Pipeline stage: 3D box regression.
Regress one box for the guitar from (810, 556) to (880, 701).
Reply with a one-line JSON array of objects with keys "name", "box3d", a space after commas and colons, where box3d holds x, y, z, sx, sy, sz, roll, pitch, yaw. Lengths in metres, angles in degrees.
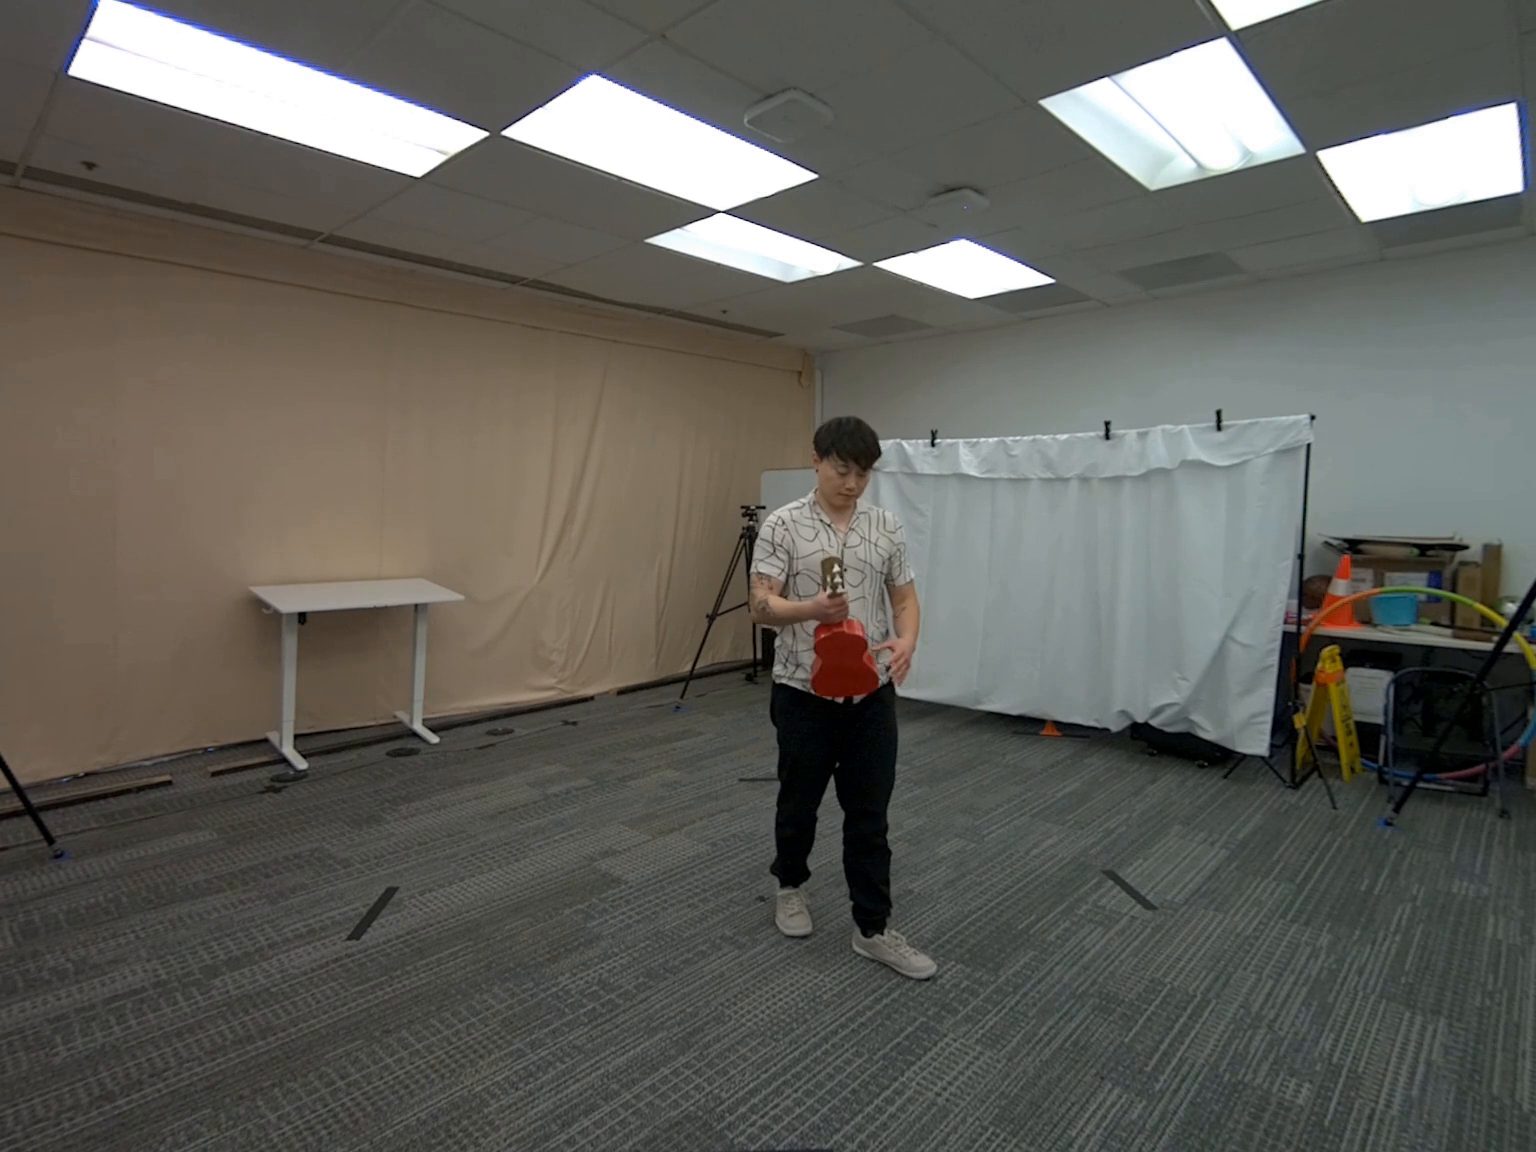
[{"name": "guitar", "box3d": [0.147, 0.168, 2.324, 0.195, 0.484, 0.072, -11, 40, 13]}]
